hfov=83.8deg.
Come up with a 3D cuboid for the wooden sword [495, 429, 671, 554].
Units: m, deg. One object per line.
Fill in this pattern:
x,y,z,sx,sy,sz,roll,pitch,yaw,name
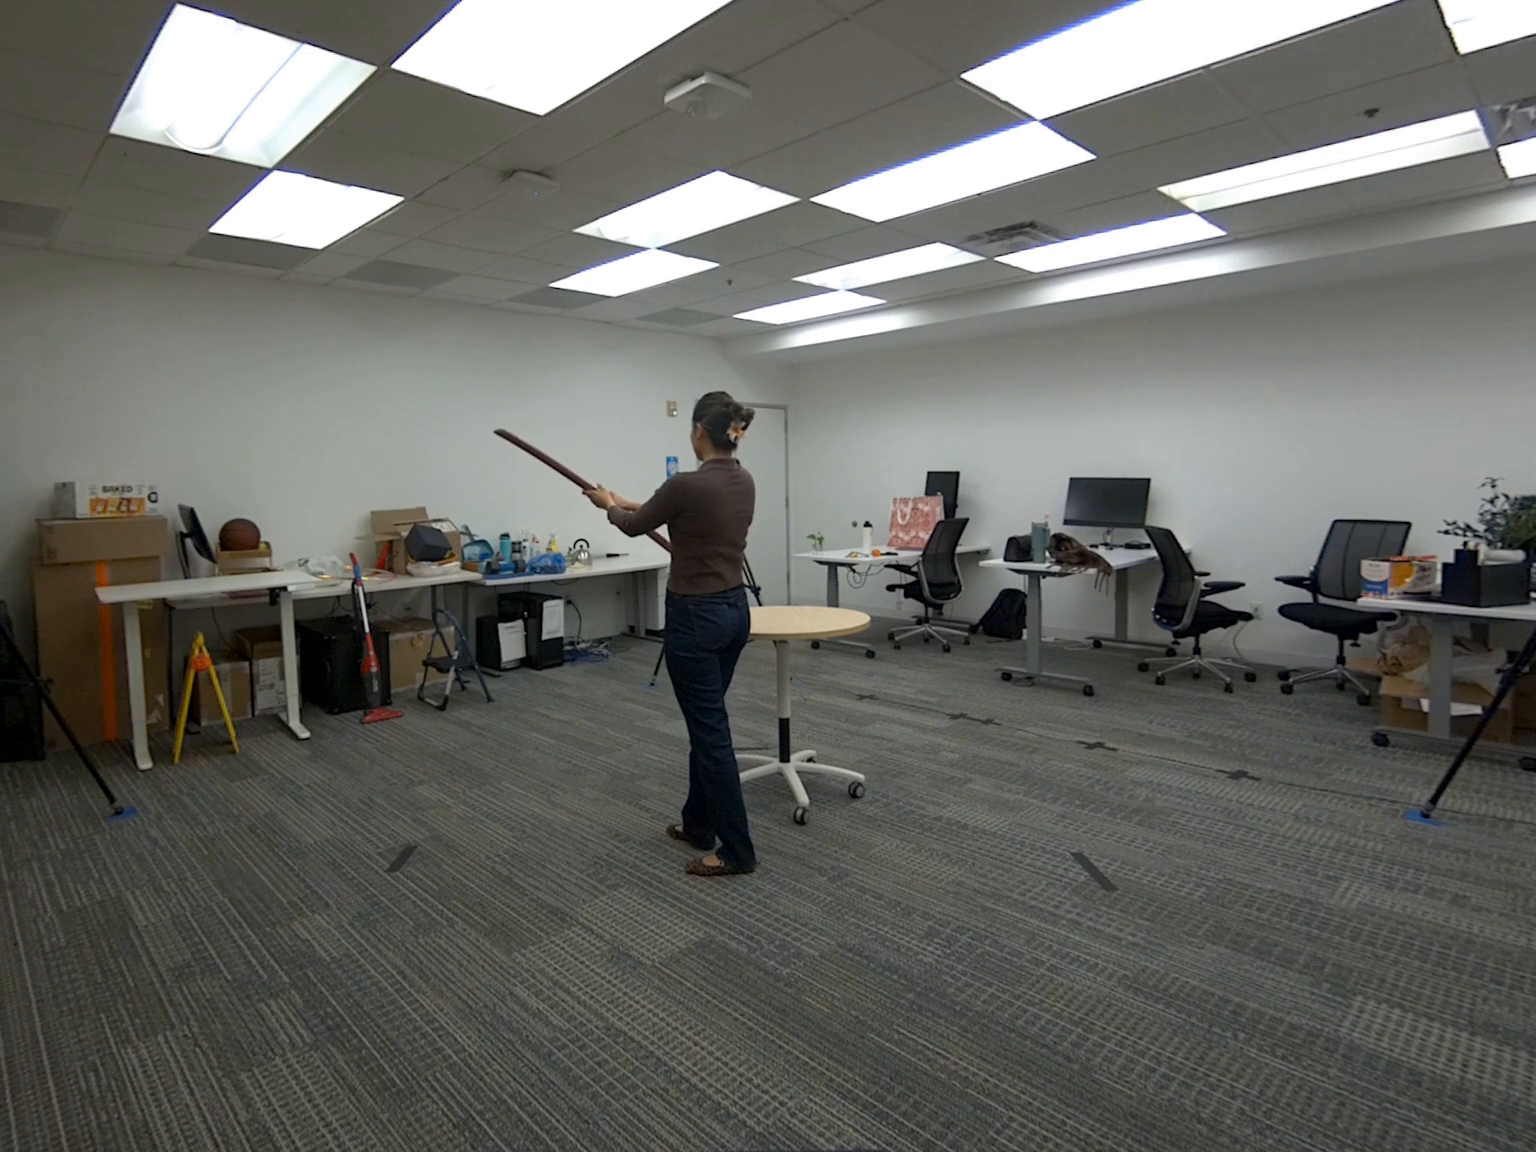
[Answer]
-0.670,-0.310,3.389,0.025,0.051,0.985,17,-14,47,wooden sword
